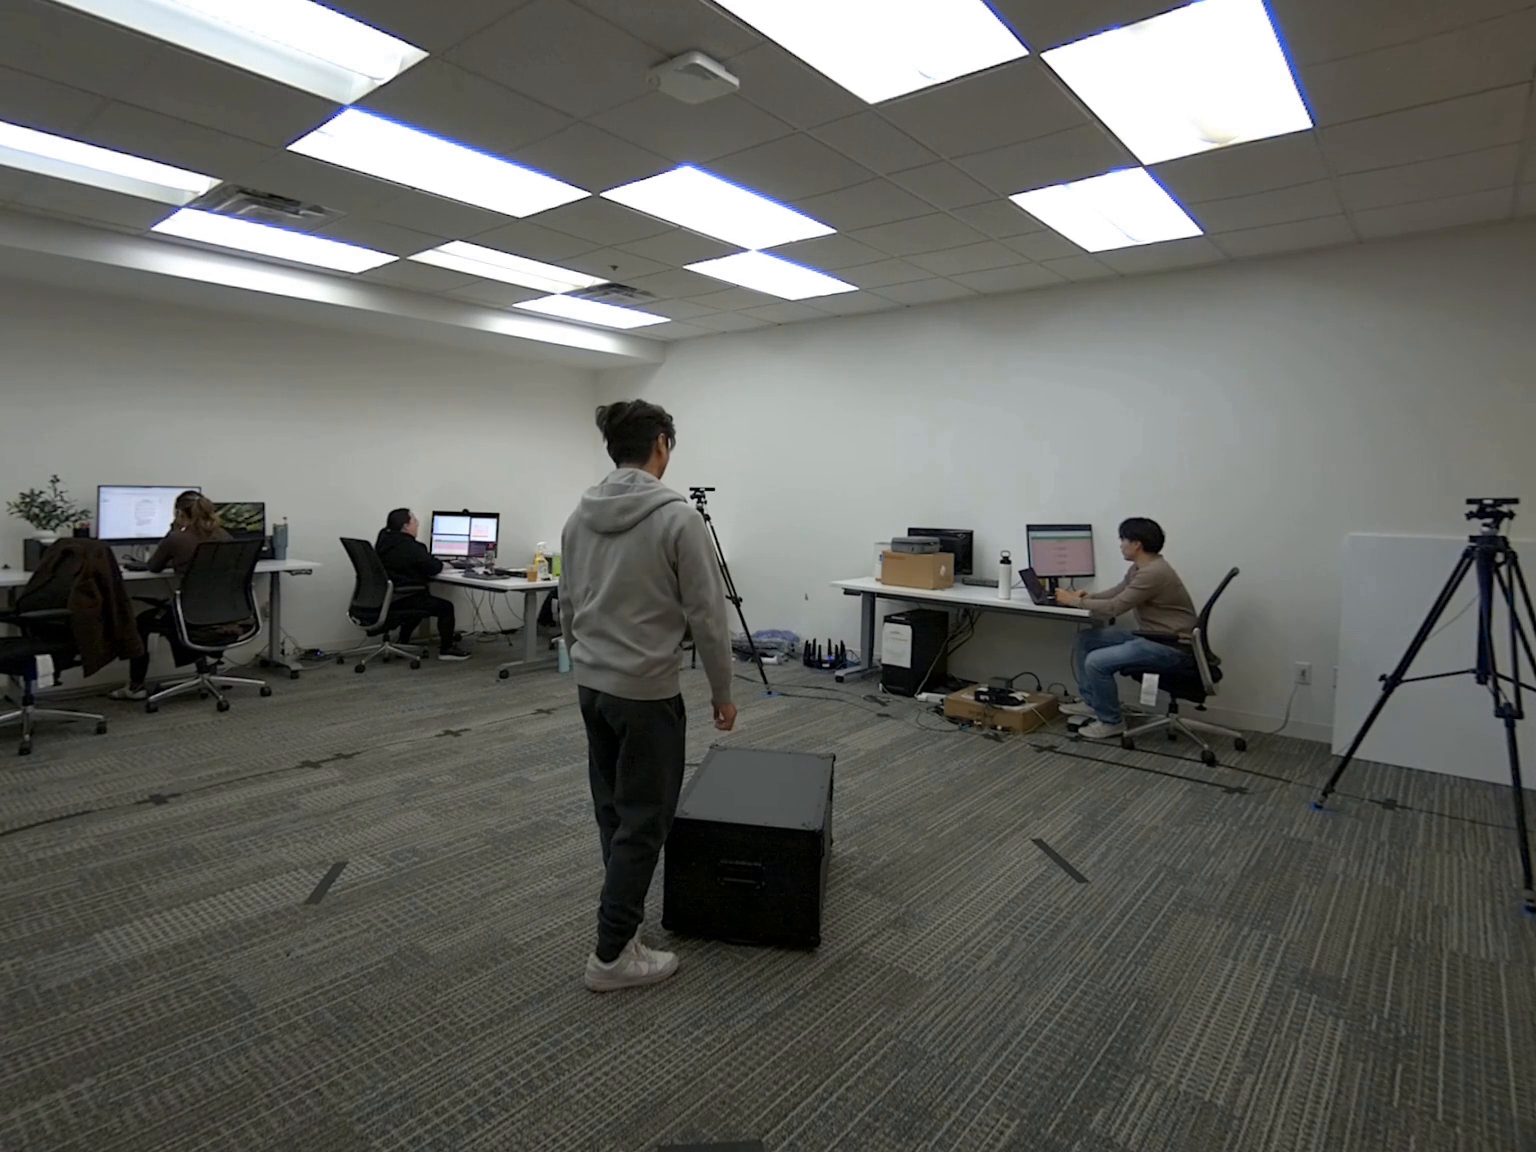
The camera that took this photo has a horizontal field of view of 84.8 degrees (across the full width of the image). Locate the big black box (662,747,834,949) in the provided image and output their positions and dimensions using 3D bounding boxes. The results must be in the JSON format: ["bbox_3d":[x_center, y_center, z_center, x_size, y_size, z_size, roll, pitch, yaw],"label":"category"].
[{"bbox_3d":[-0.032,0.888,2.980,0.527,0.394,0.856,2,6,8],"label":"big black box"}]
